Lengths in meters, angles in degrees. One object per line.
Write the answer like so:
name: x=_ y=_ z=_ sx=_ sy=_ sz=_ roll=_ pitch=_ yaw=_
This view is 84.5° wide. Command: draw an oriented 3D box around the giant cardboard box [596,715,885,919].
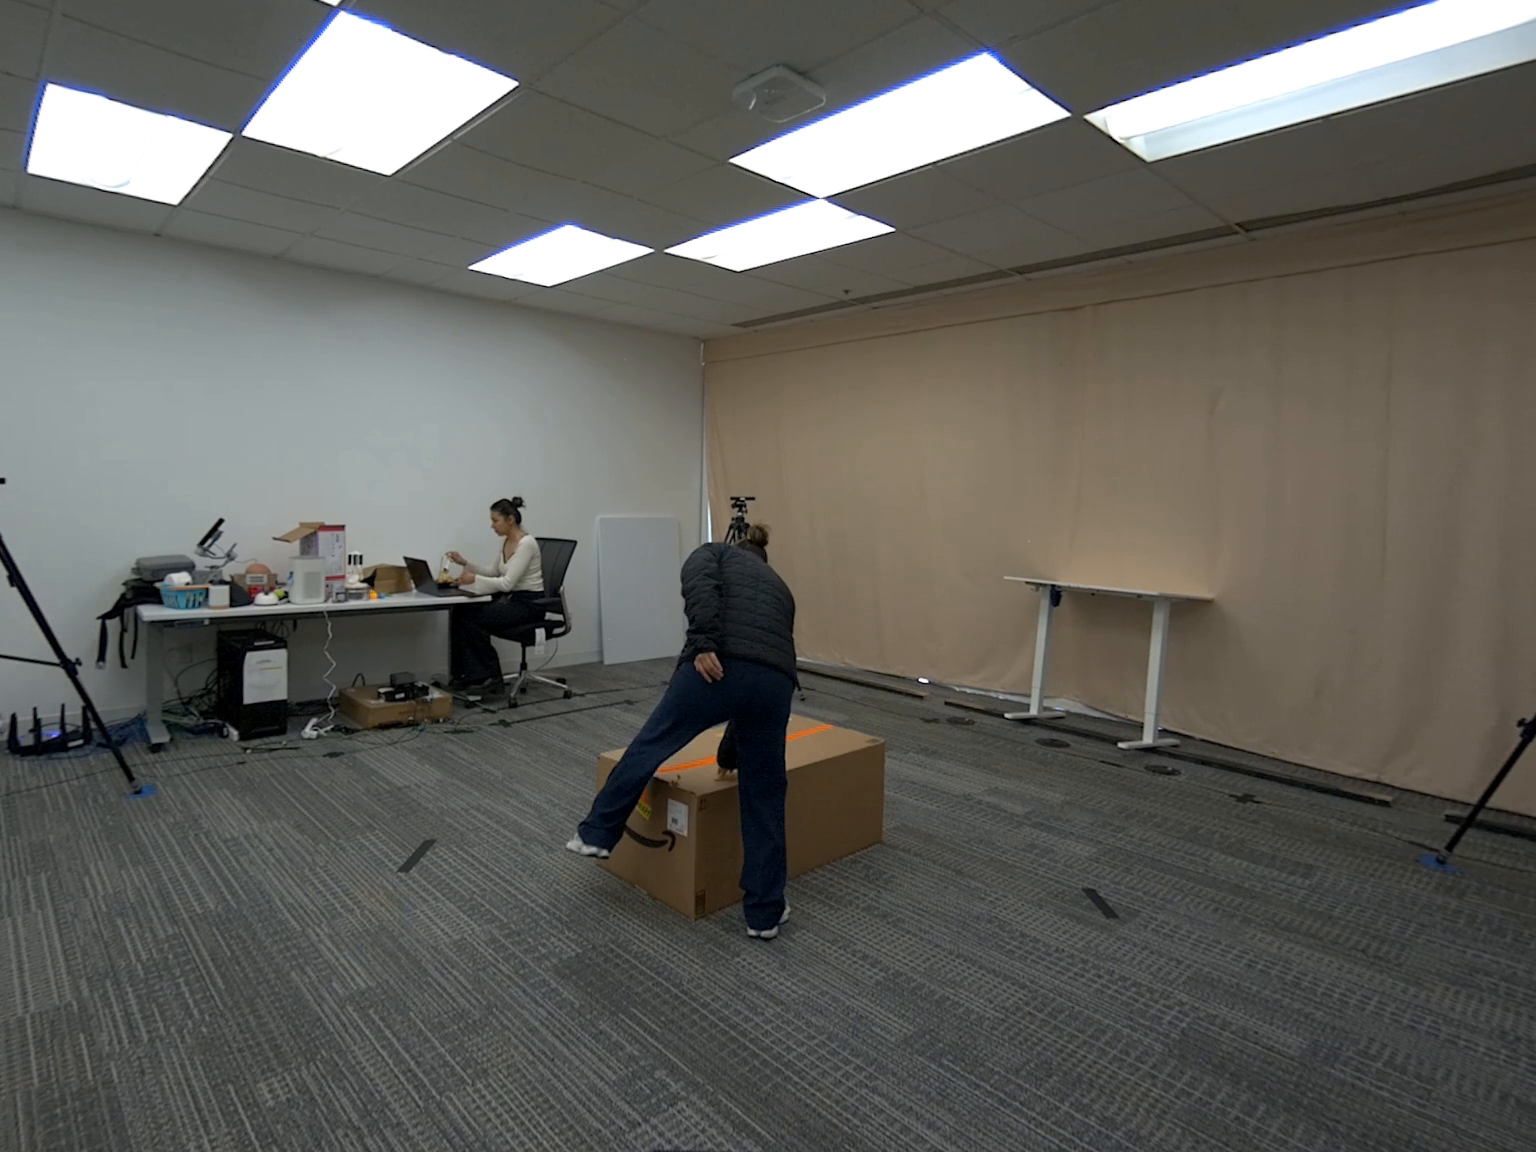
giant cardboard box: x=-0.090 y=0.885 z=3.297 sx=1.003 sy=0.445 sz=0.599 roll=-3 pitch=7 yaw=-44
